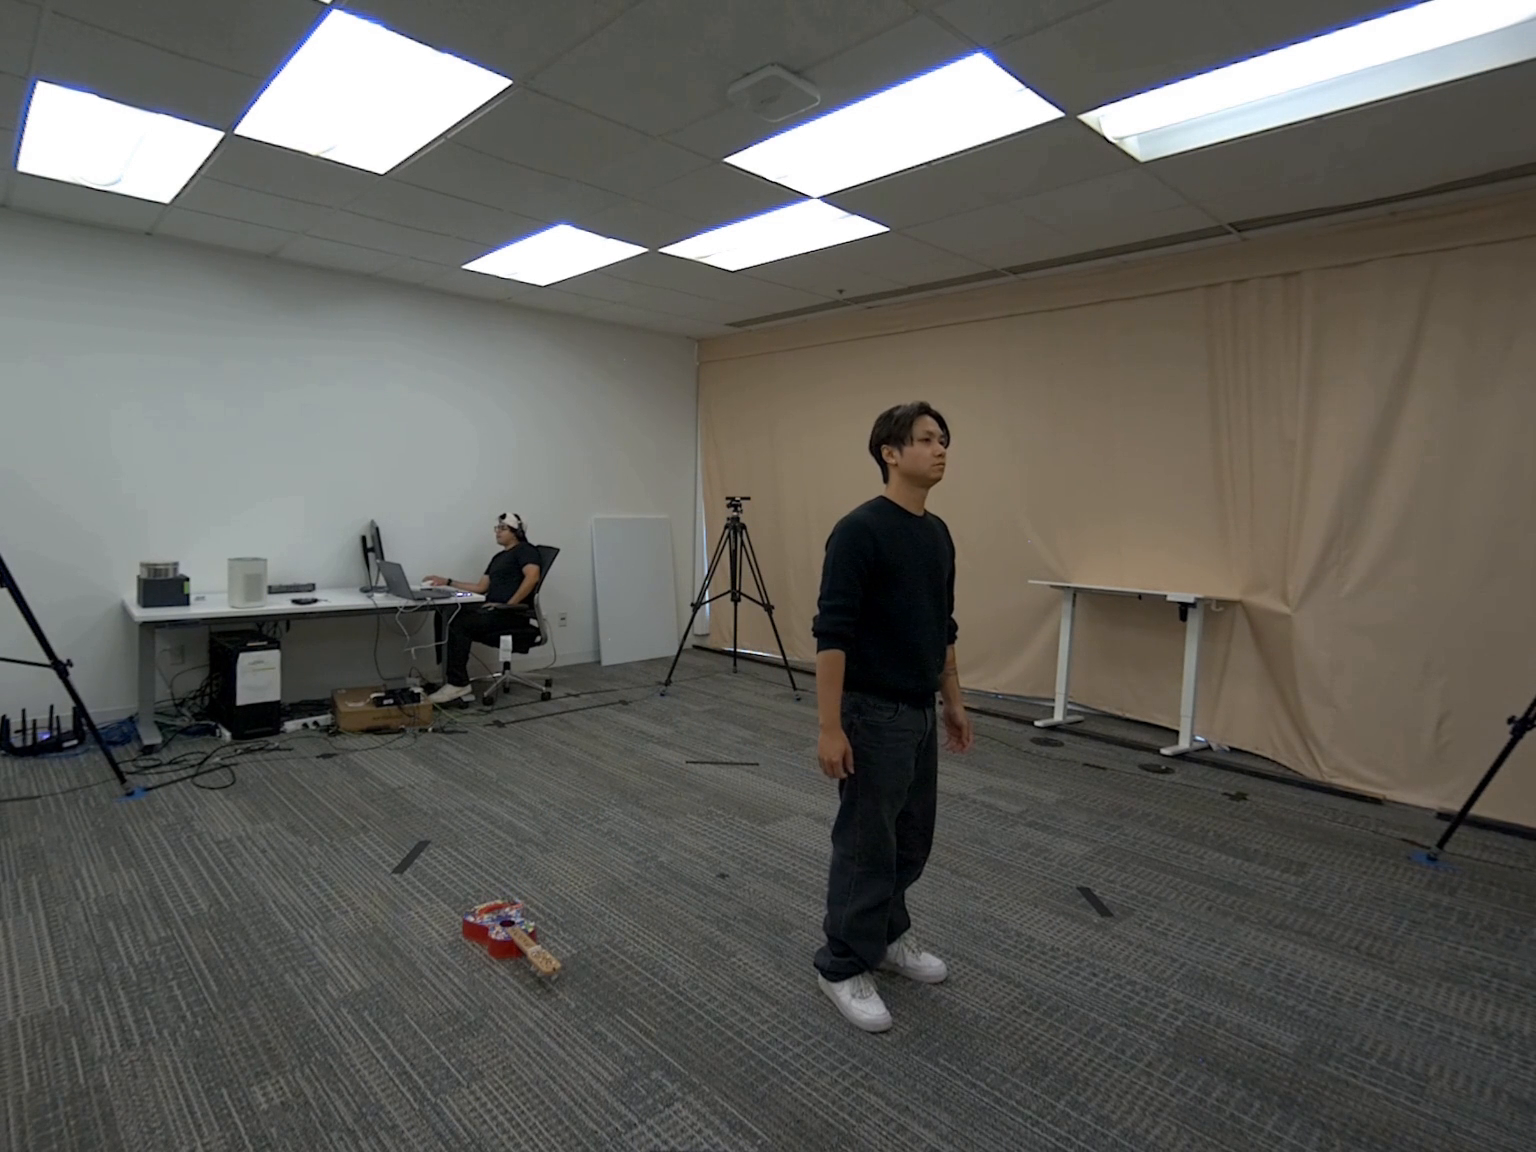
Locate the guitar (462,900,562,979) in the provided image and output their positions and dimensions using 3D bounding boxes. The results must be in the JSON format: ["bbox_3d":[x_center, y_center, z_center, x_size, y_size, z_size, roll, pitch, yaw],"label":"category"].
[{"bbox_3d":[-0.794,1.118,2.533,0.189,0.070,0.509,-2,6,-30],"label":"guitar"}]
